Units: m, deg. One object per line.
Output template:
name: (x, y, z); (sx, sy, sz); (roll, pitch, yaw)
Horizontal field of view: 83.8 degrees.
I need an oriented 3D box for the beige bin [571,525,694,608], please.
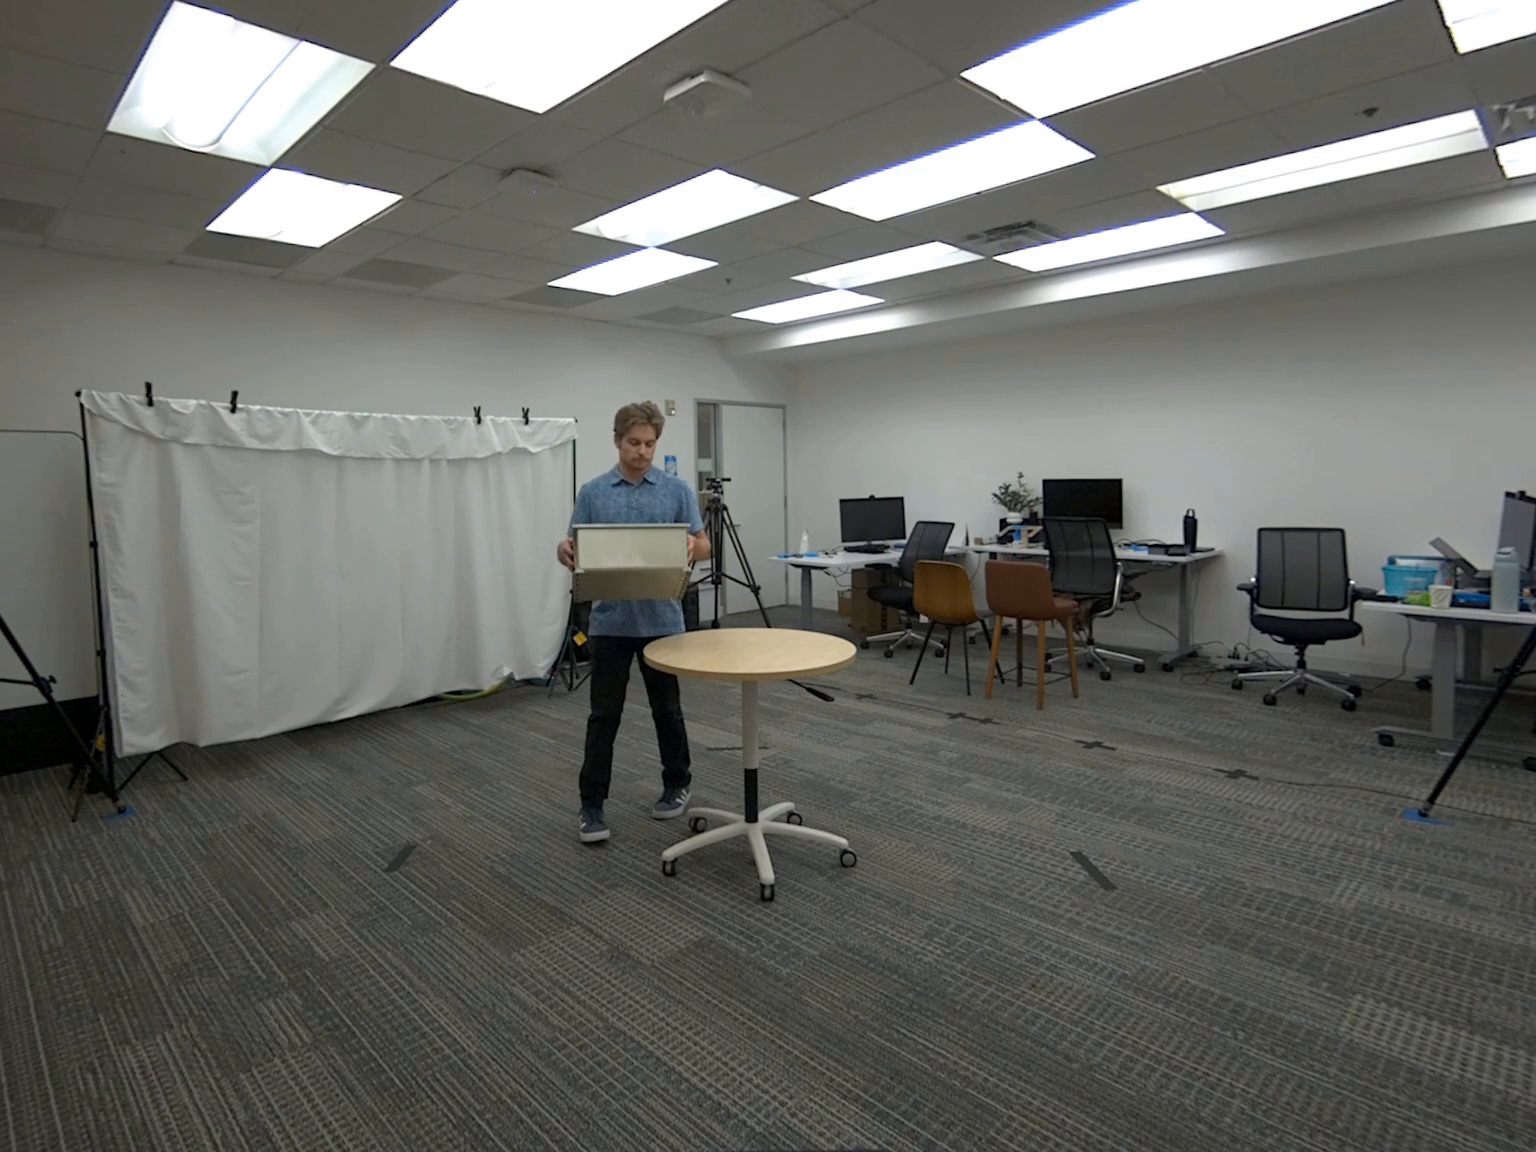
beige bin: (-0.509, -0.025, 3.172); (0.418, 0.192, 0.374); (1, -19, -10)
